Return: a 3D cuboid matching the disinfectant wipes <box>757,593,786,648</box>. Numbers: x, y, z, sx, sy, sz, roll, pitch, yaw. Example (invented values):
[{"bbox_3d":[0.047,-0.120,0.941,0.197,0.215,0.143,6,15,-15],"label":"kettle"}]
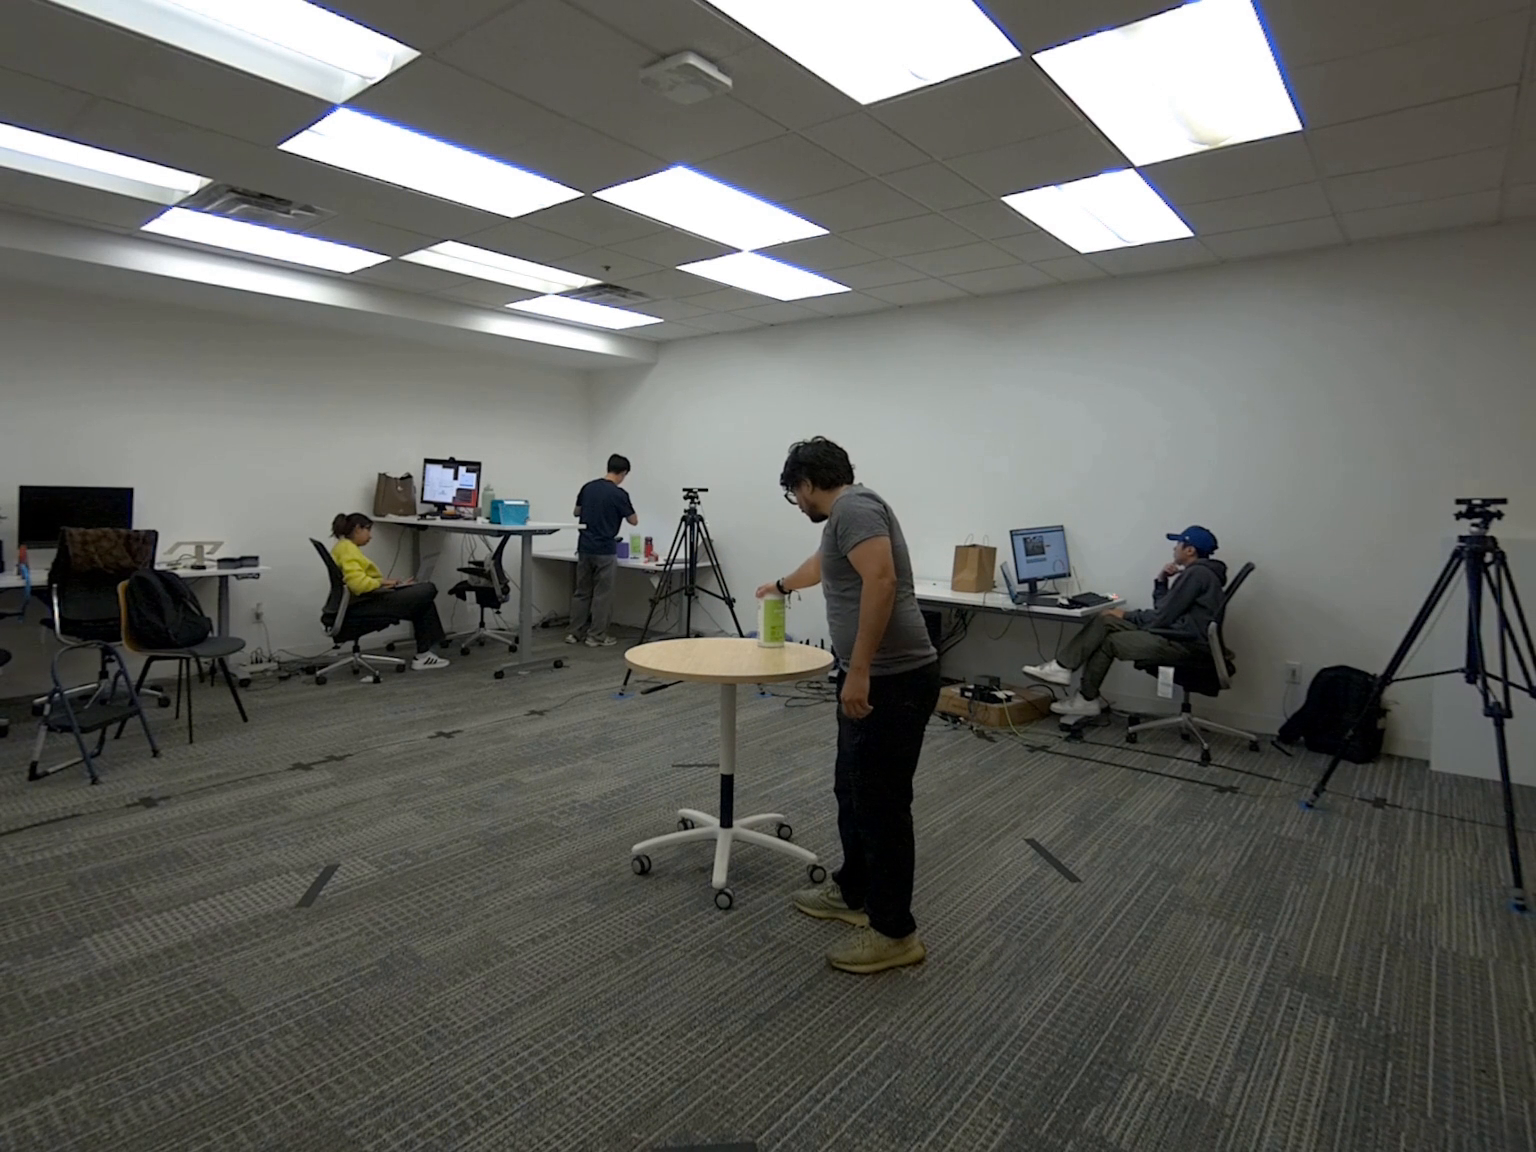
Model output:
[{"bbox_3d":[0.006,0.162,3.330,0.117,0.217,0.118,1,4,-2],"label":"disinfectant wipes"}]
